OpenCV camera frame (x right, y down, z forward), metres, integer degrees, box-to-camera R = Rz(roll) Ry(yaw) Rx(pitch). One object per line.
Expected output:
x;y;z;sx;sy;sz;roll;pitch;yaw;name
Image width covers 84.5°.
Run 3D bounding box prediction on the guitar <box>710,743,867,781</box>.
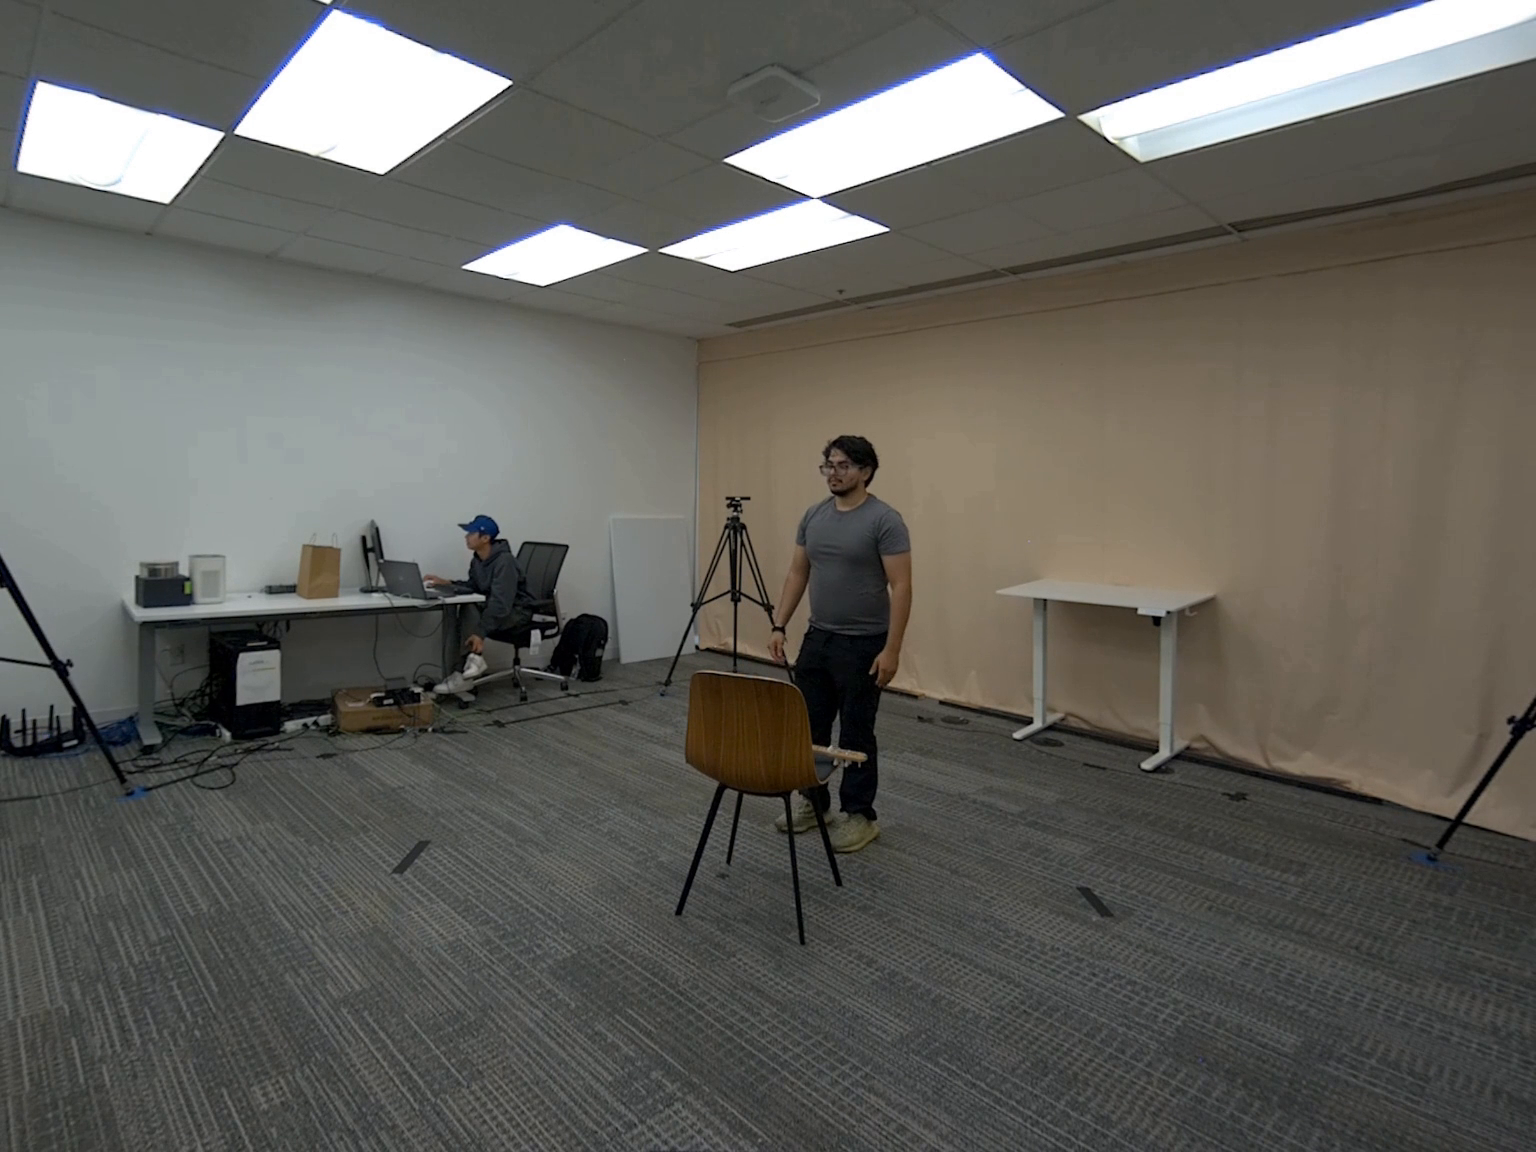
0.077;0.618;2.903;0.510;0.070;0.189;6;8;34;guitar
